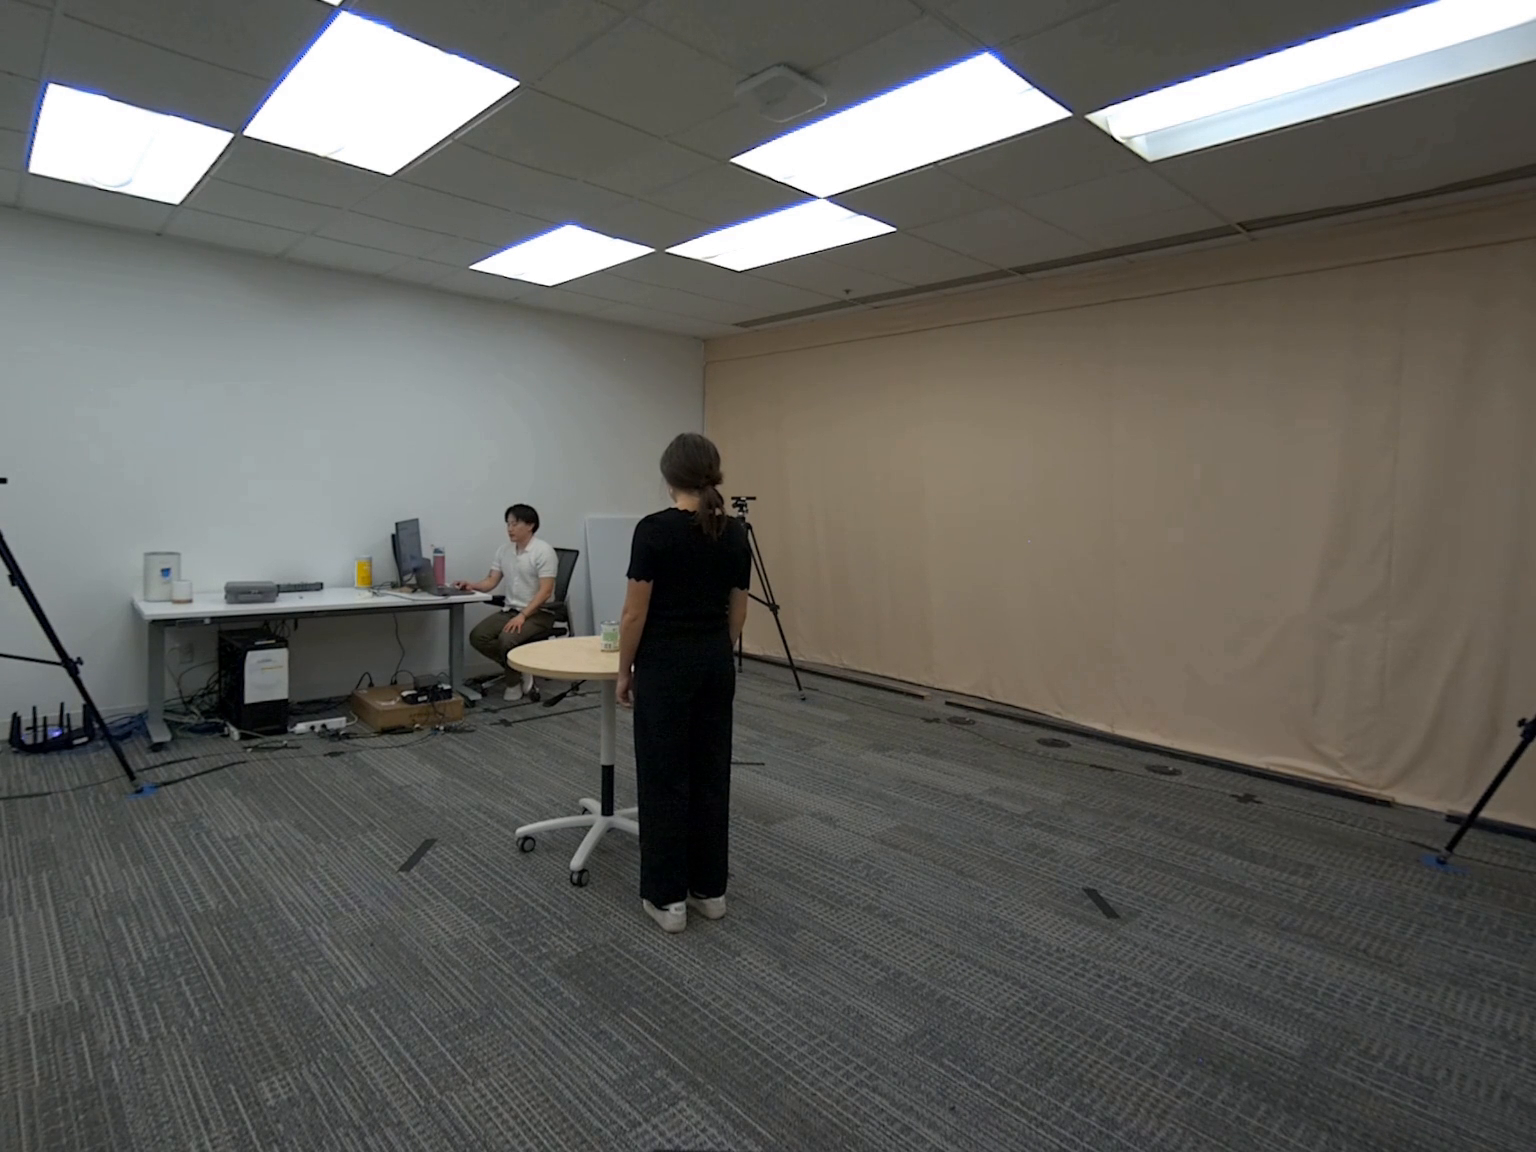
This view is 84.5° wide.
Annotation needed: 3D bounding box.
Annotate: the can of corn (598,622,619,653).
[{"bbox_3d":[-0.630,0.239,3.293,0.074,0.111,0.074,1,3,-1],"label":"can of corn"}]
